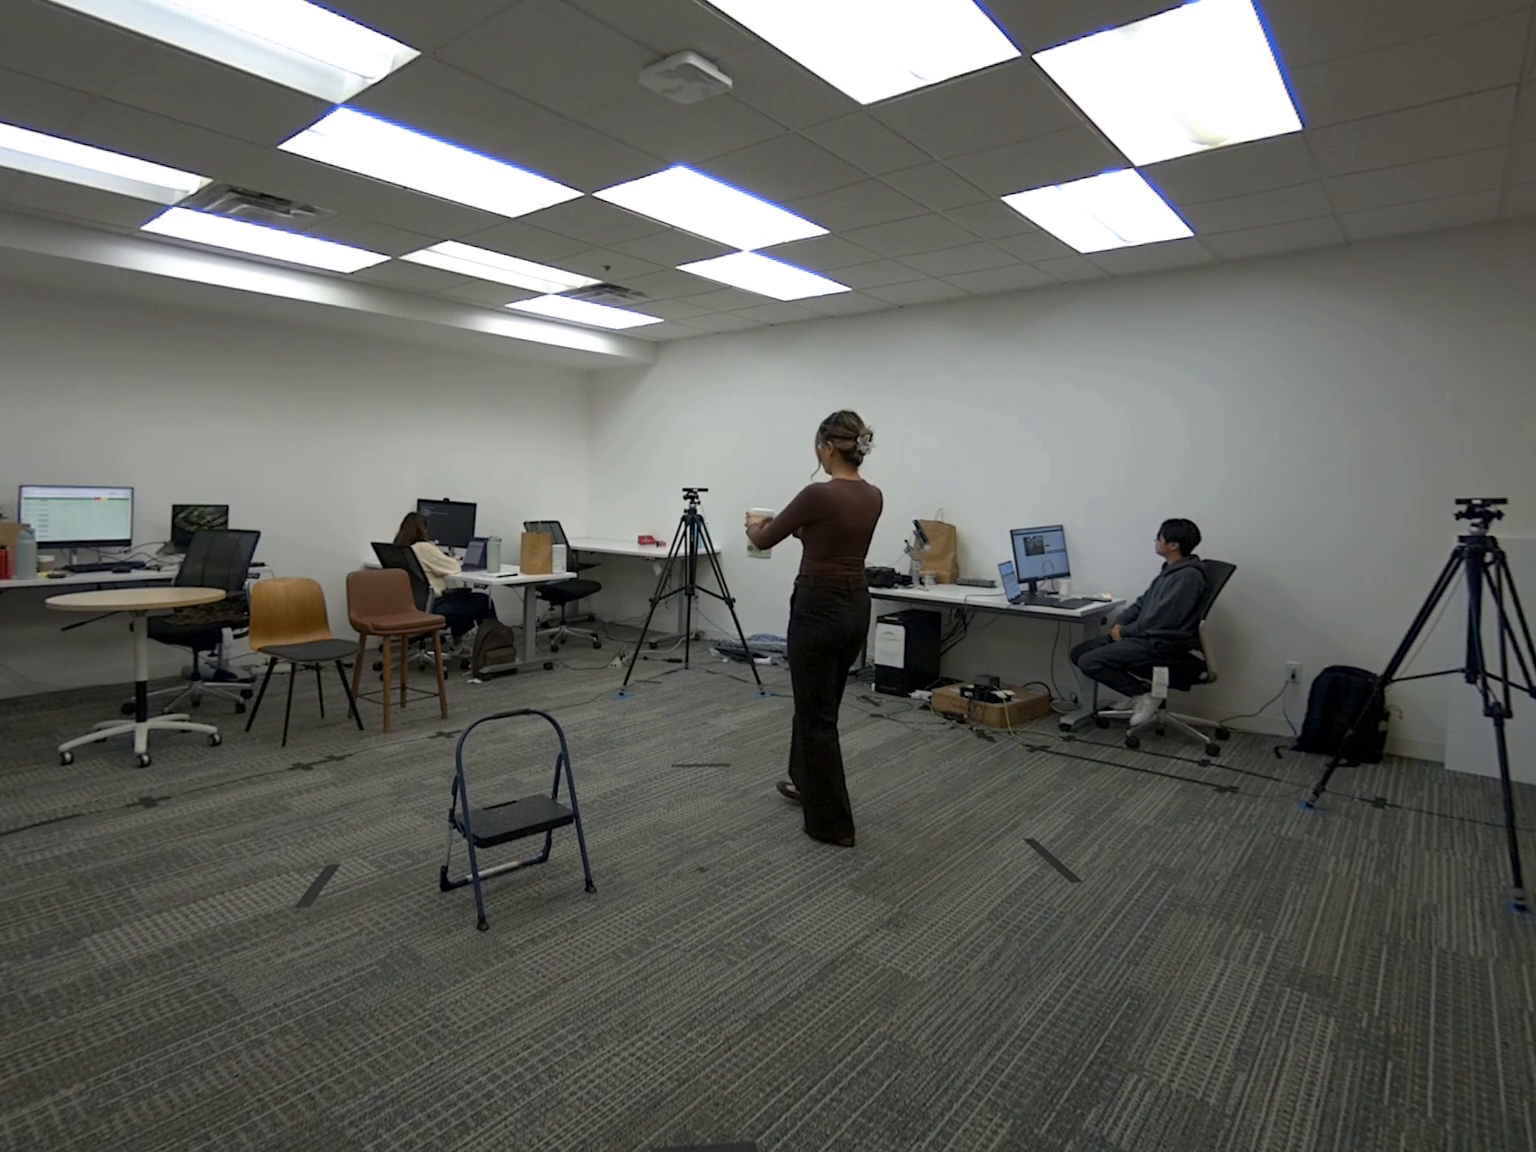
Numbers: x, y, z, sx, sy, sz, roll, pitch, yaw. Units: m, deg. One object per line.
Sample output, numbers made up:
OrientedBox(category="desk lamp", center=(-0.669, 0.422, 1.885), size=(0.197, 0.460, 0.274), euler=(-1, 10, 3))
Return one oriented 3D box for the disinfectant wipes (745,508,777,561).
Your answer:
OrientedBox(category="disinfectant wipes", center=(-0.034, -0.191, 3.748), size=(0.117, 0.216, 0.118), euler=(4, 4, -2))
